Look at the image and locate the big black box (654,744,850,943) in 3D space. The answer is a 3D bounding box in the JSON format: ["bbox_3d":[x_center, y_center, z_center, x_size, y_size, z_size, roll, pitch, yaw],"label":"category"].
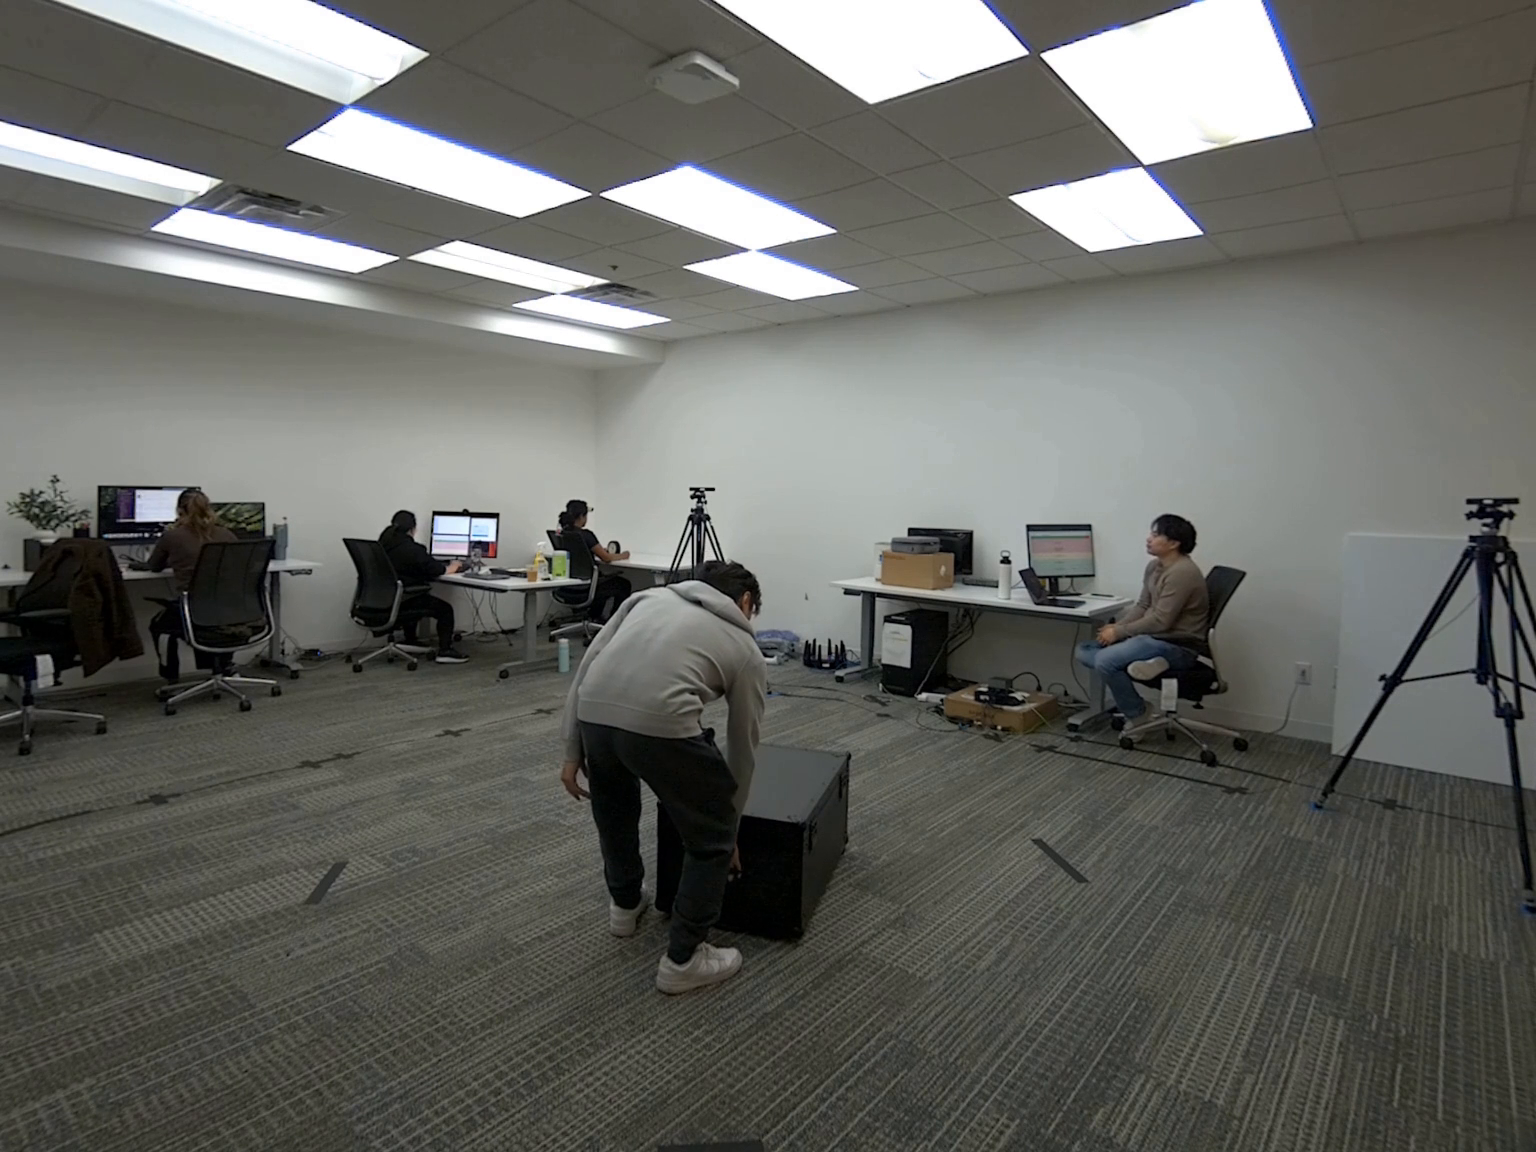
[{"bbox_3d":[-0.041,0.890,2.993,0.531,0.395,0.848,2,4,17],"label":"big black box"}]
